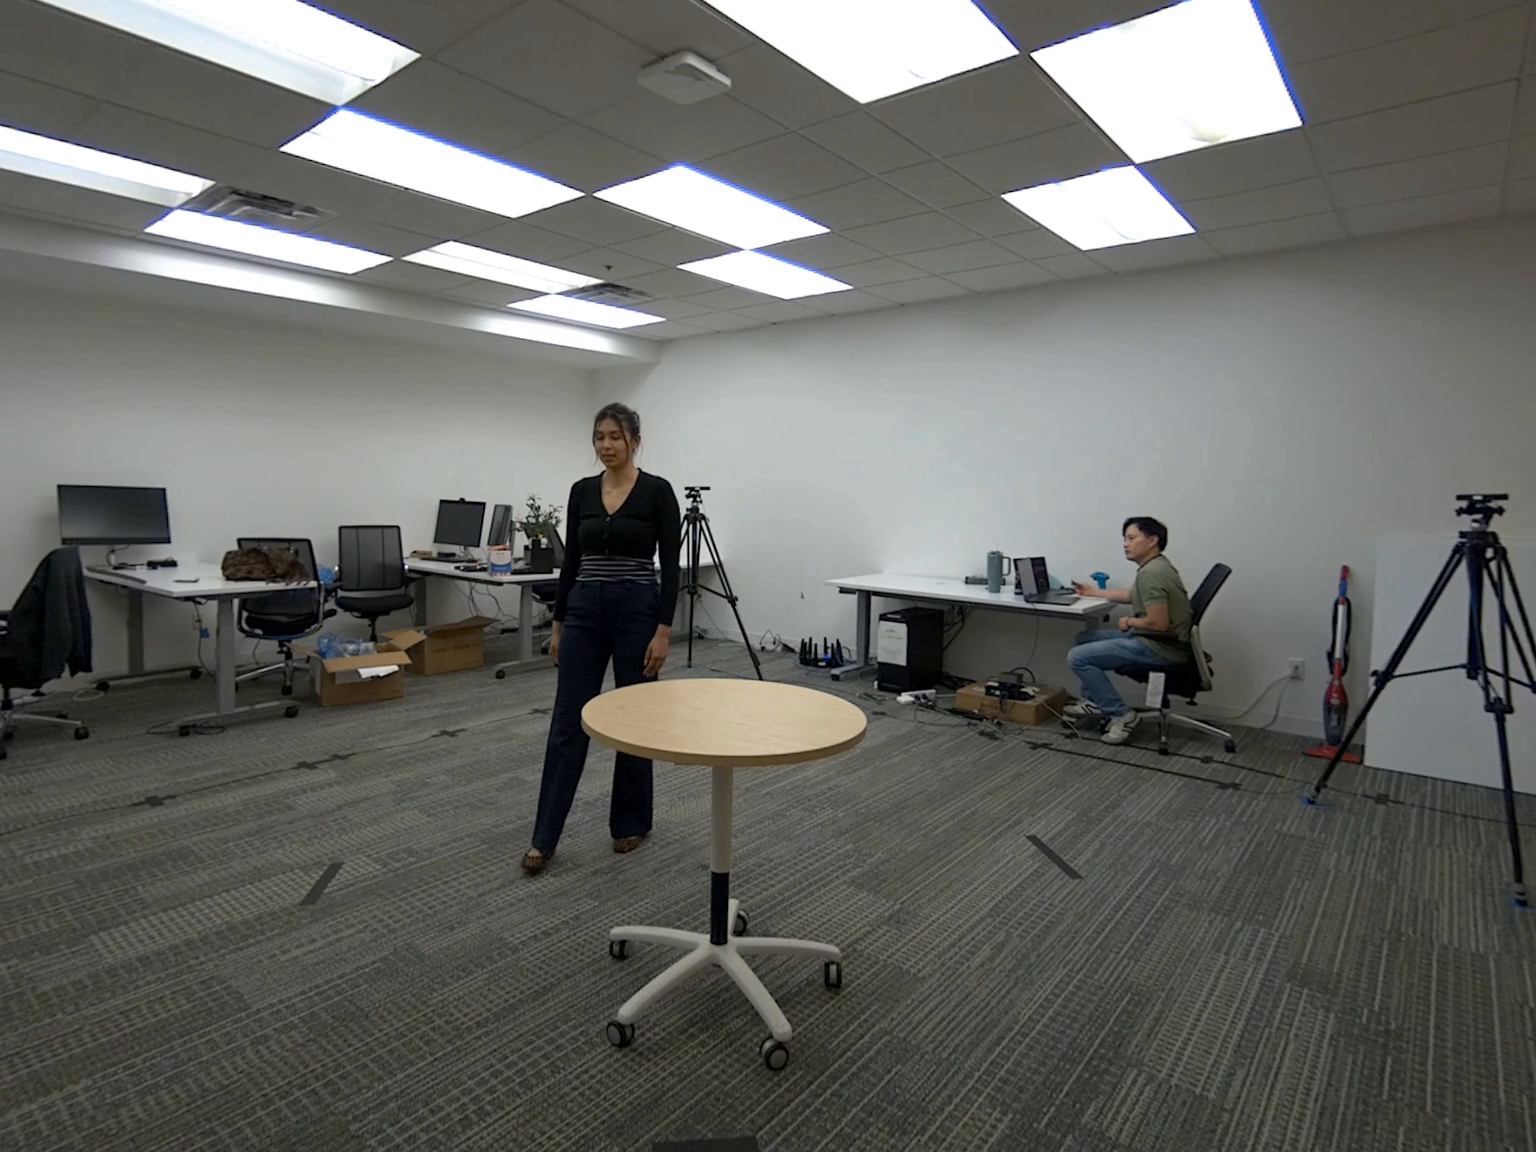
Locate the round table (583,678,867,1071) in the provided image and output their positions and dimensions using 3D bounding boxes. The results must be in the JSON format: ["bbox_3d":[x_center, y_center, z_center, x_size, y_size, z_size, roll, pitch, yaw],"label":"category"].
[{"bbox_3d":[-0.143,0.755,2.335,0.763,0.791,0.768,1,5,-2],"label":"round table"}]
